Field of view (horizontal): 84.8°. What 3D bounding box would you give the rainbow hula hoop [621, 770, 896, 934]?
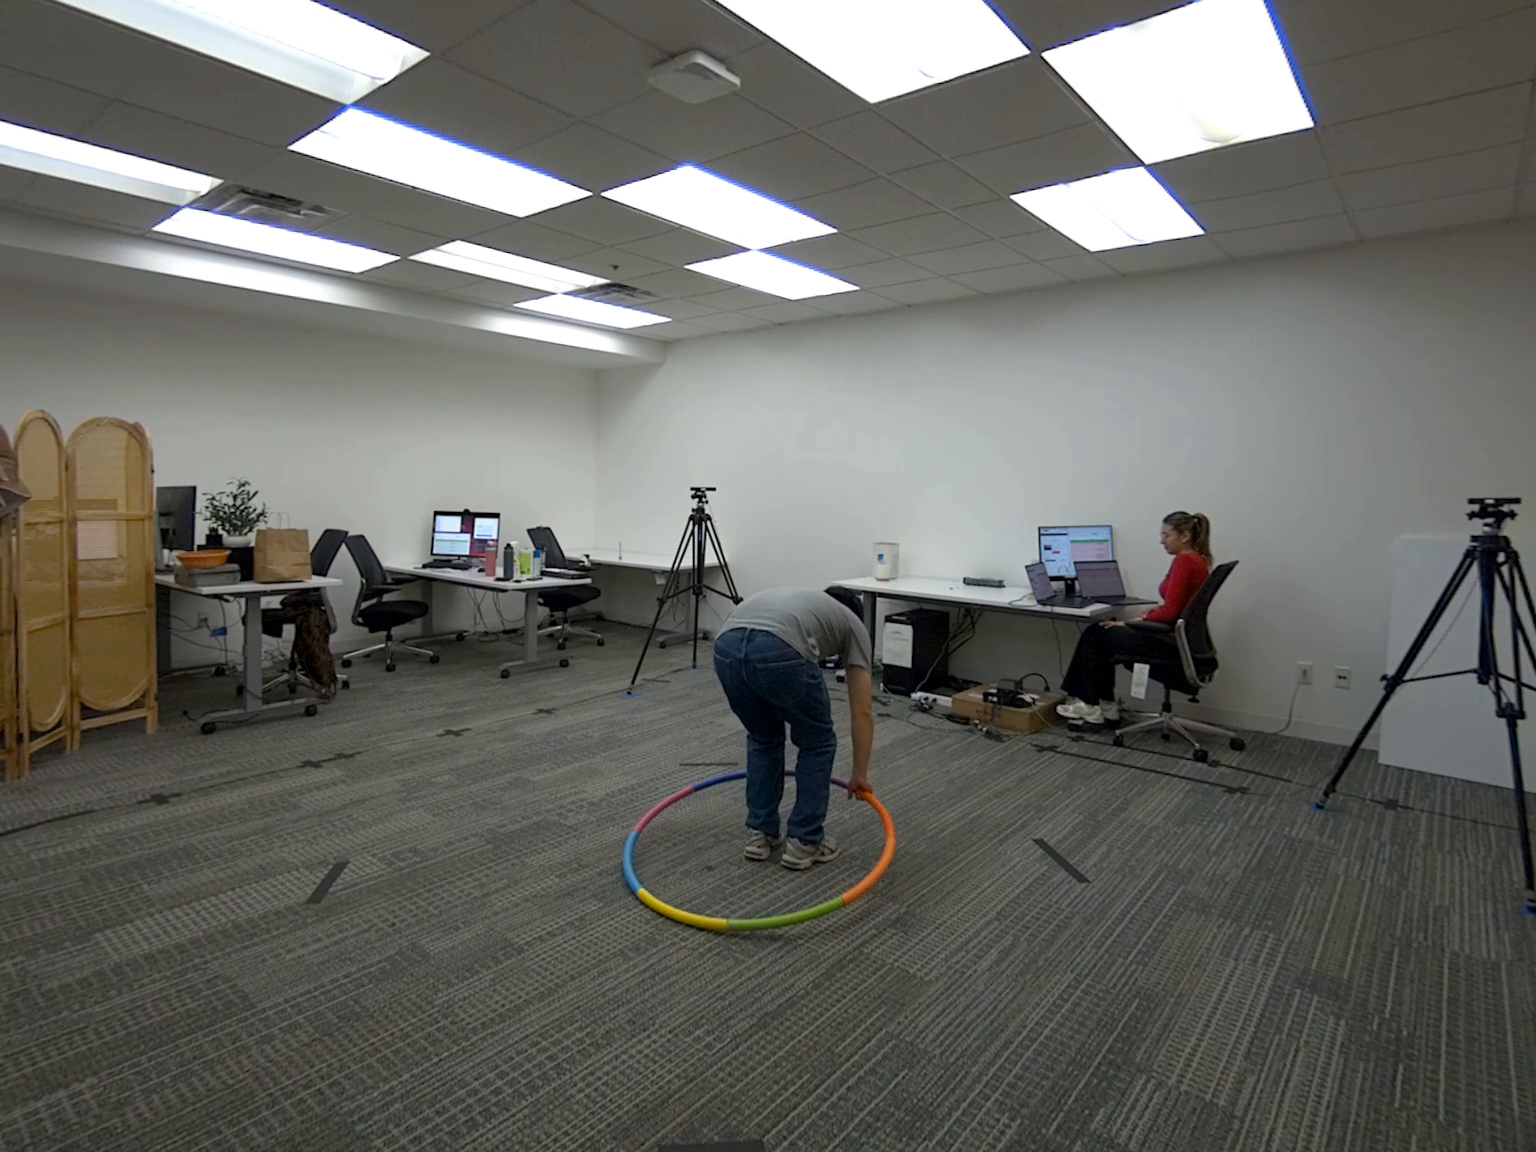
[{"bbox_3d":[-0.045,0.946,3.094,0.979,0.035,0.993,-7,15,0],"label":"rainbow hula hoop"}]
